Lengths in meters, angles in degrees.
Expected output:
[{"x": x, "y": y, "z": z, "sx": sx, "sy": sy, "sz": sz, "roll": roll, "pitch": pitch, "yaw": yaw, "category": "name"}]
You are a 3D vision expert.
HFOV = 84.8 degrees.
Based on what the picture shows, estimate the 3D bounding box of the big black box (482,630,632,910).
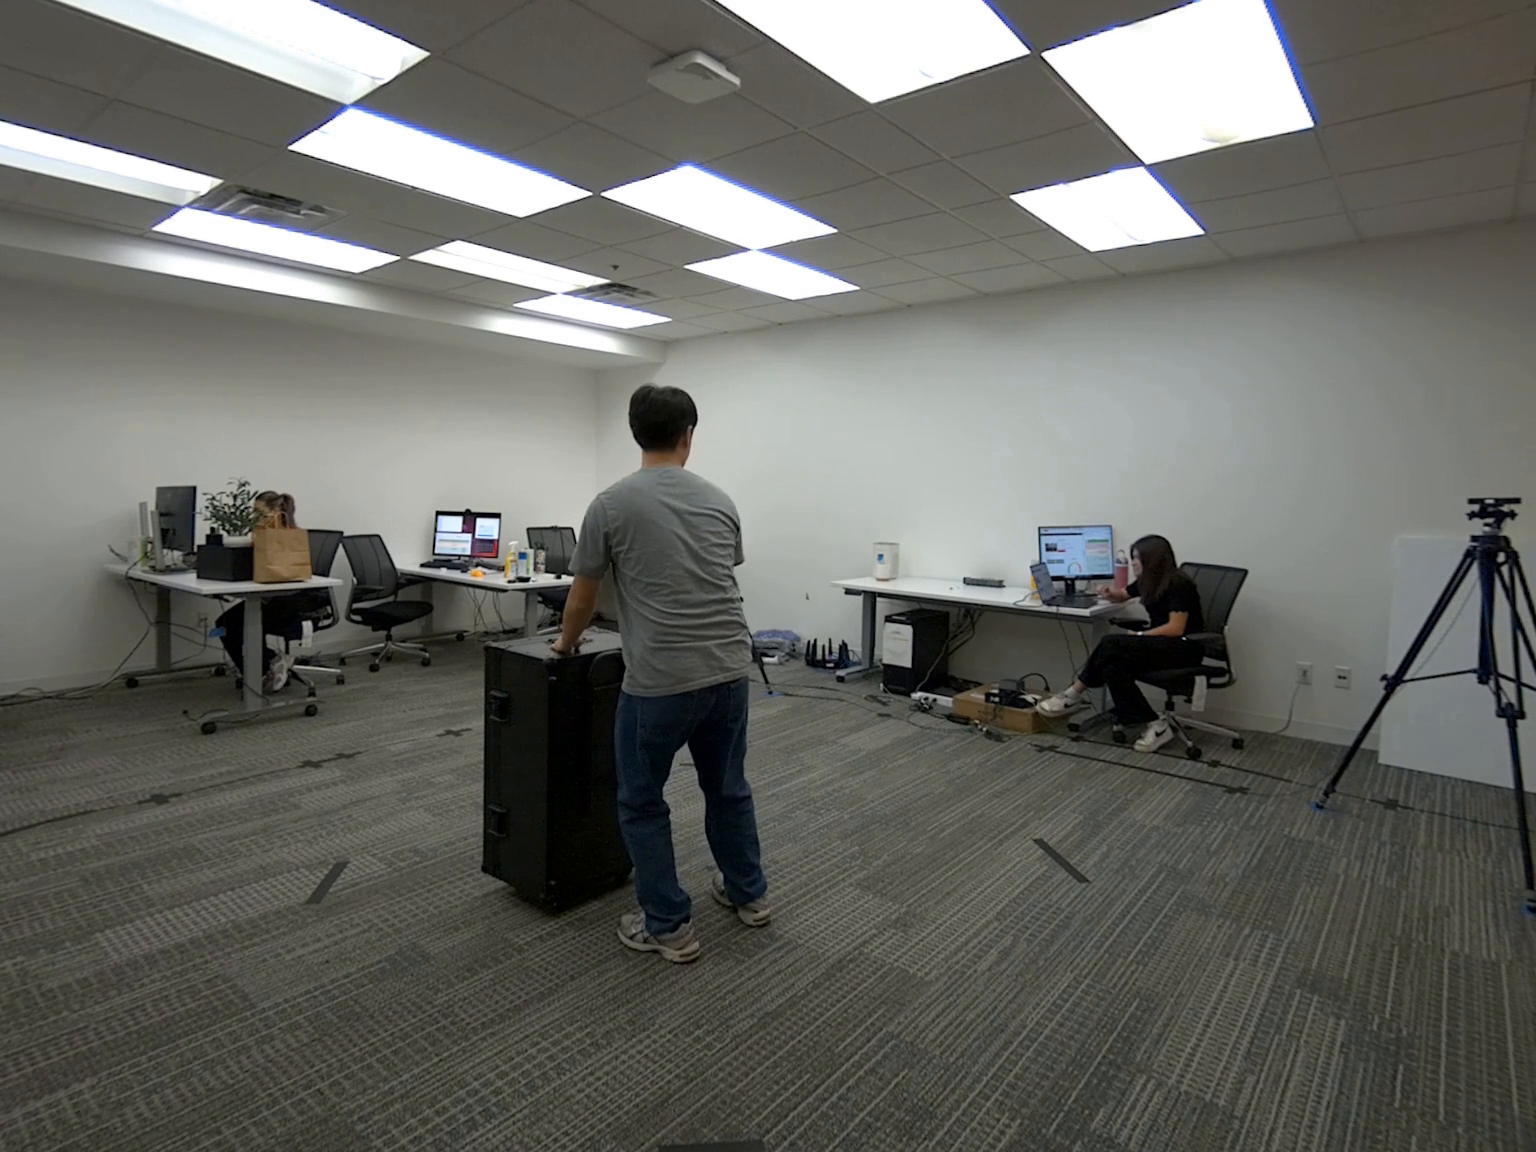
[{"x": -0.682, "y": 0.651, "z": 2.935, "sx": 0.410, "sy": 0.858, "sz": 0.506, "roll": 5, "pitch": 5, "yaw": 39, "category": "big black box"}]
